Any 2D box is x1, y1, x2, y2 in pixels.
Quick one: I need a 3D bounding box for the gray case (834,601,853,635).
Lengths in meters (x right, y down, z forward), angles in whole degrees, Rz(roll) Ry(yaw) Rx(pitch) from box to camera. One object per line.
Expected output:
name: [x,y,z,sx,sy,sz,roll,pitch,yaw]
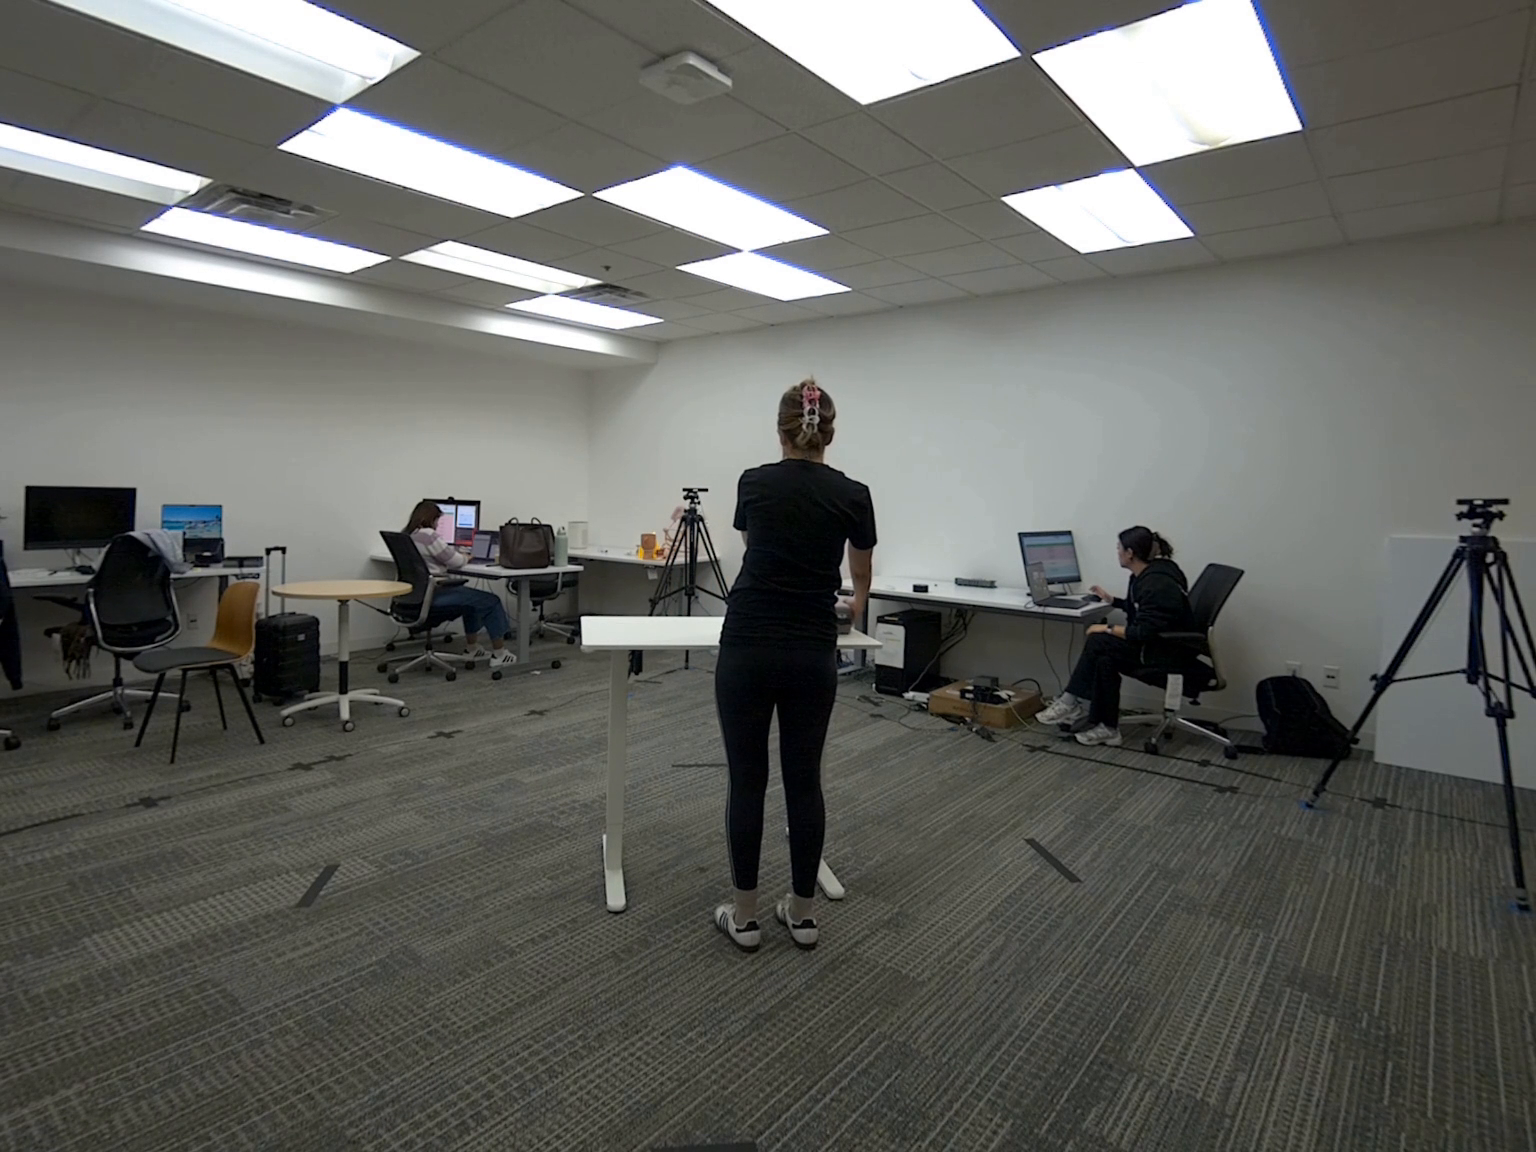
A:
gray case: [0.153,0.143,3.150,0.256,0.104,0.262,2,4,-5]
